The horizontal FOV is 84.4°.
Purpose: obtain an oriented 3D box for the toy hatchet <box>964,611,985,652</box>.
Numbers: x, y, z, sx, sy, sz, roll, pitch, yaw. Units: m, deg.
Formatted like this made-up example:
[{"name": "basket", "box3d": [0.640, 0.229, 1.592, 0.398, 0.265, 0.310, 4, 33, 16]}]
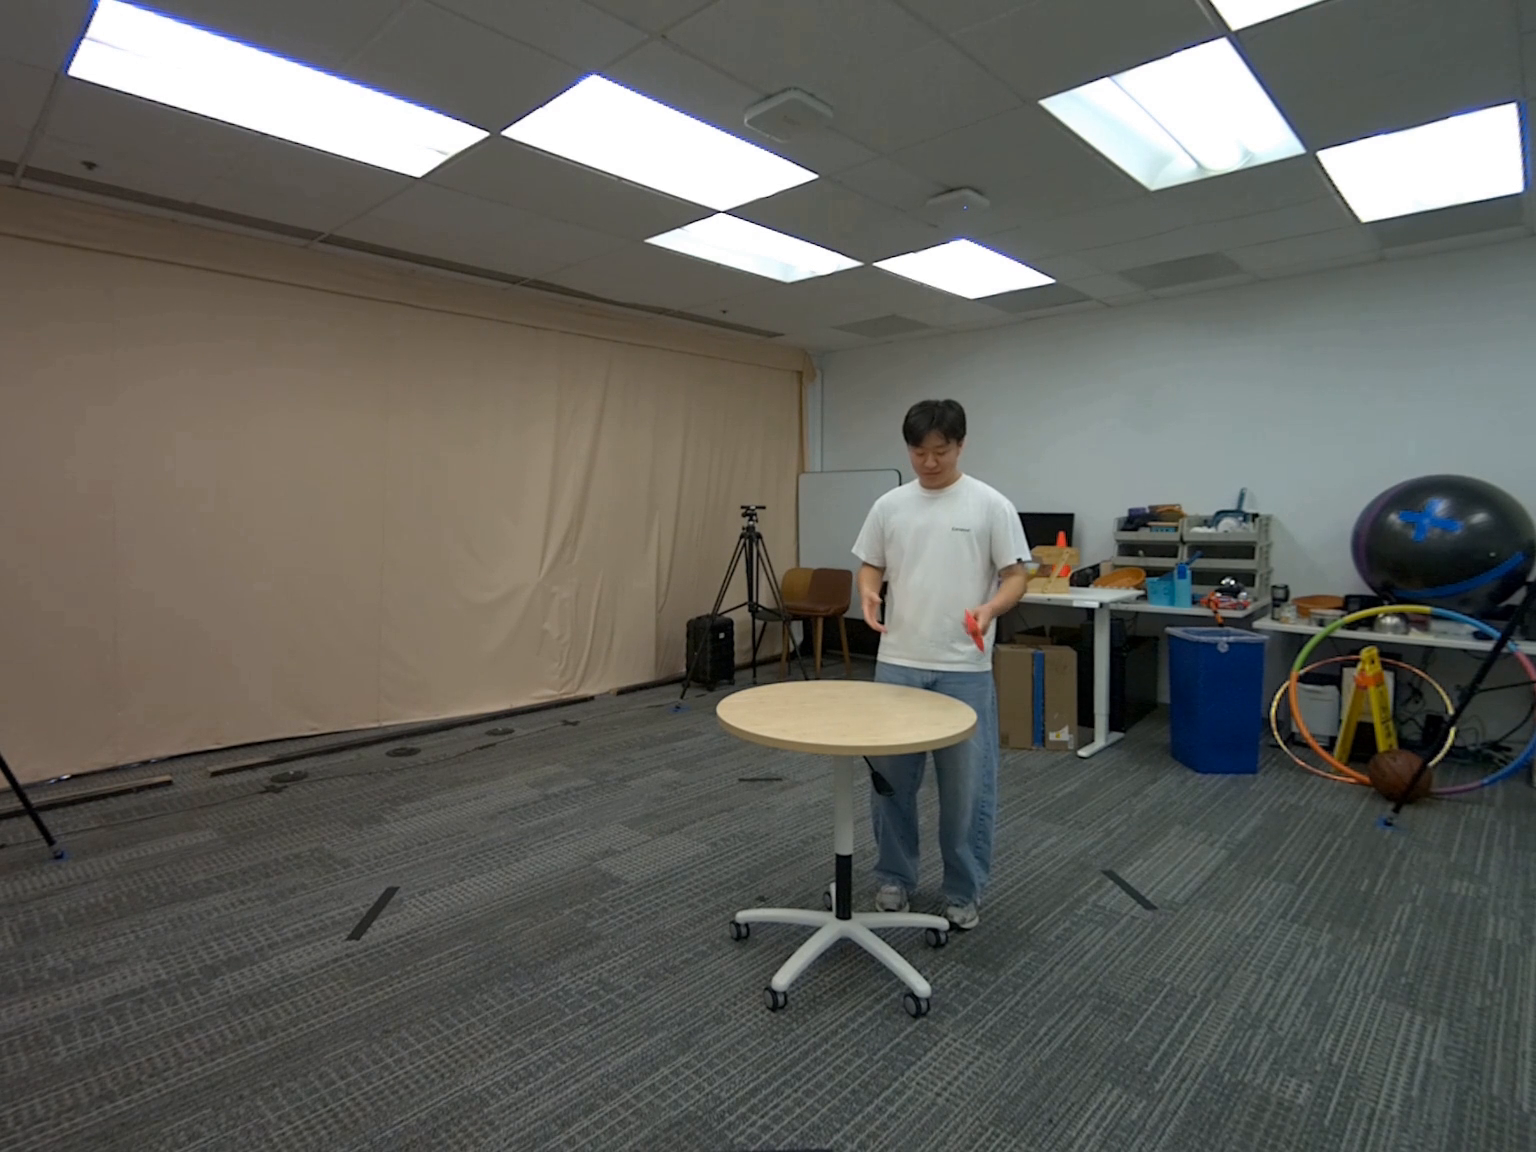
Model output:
[{"name": "toy hatchet", "box3d": [0.622, 0.168, 2.574, 0.030, 0.133, 0.263, -22, -16, 16]}]
